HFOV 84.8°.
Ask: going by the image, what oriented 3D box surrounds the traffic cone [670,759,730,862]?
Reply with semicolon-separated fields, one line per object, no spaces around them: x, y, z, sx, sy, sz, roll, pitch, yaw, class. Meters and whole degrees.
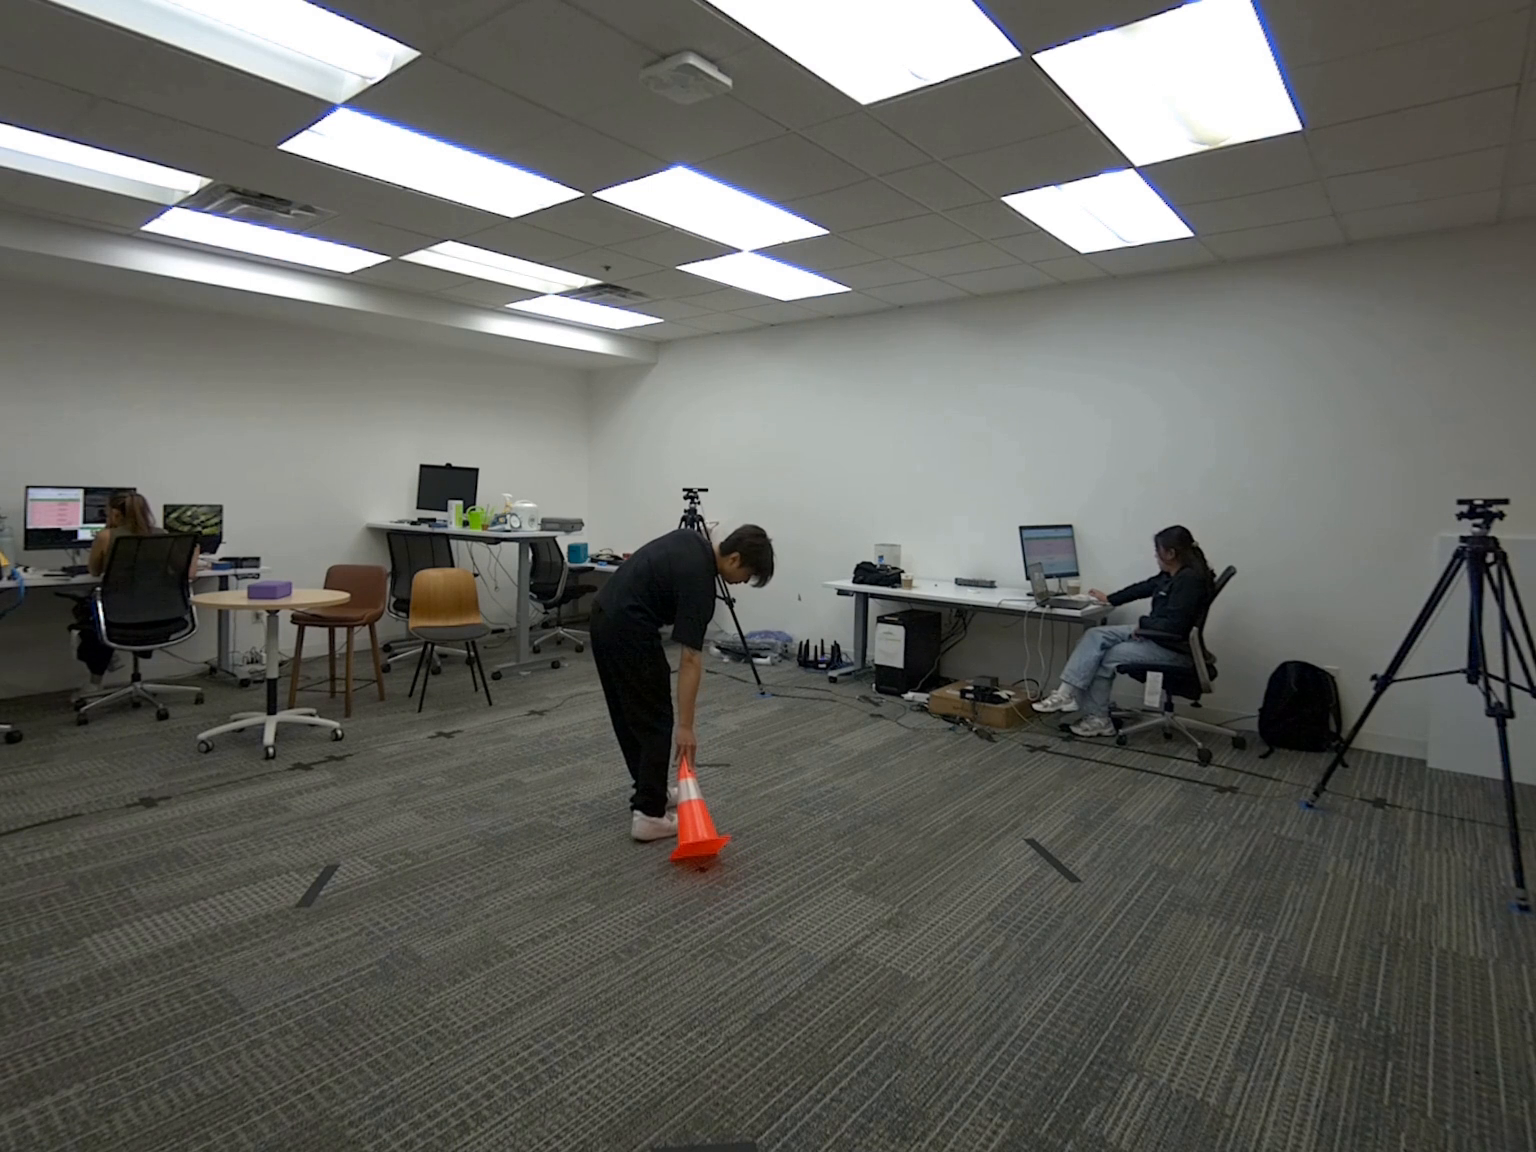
-0.308;0.850;3.247;0.199;0.396;0.203;0;-35;-24;traffic cone
